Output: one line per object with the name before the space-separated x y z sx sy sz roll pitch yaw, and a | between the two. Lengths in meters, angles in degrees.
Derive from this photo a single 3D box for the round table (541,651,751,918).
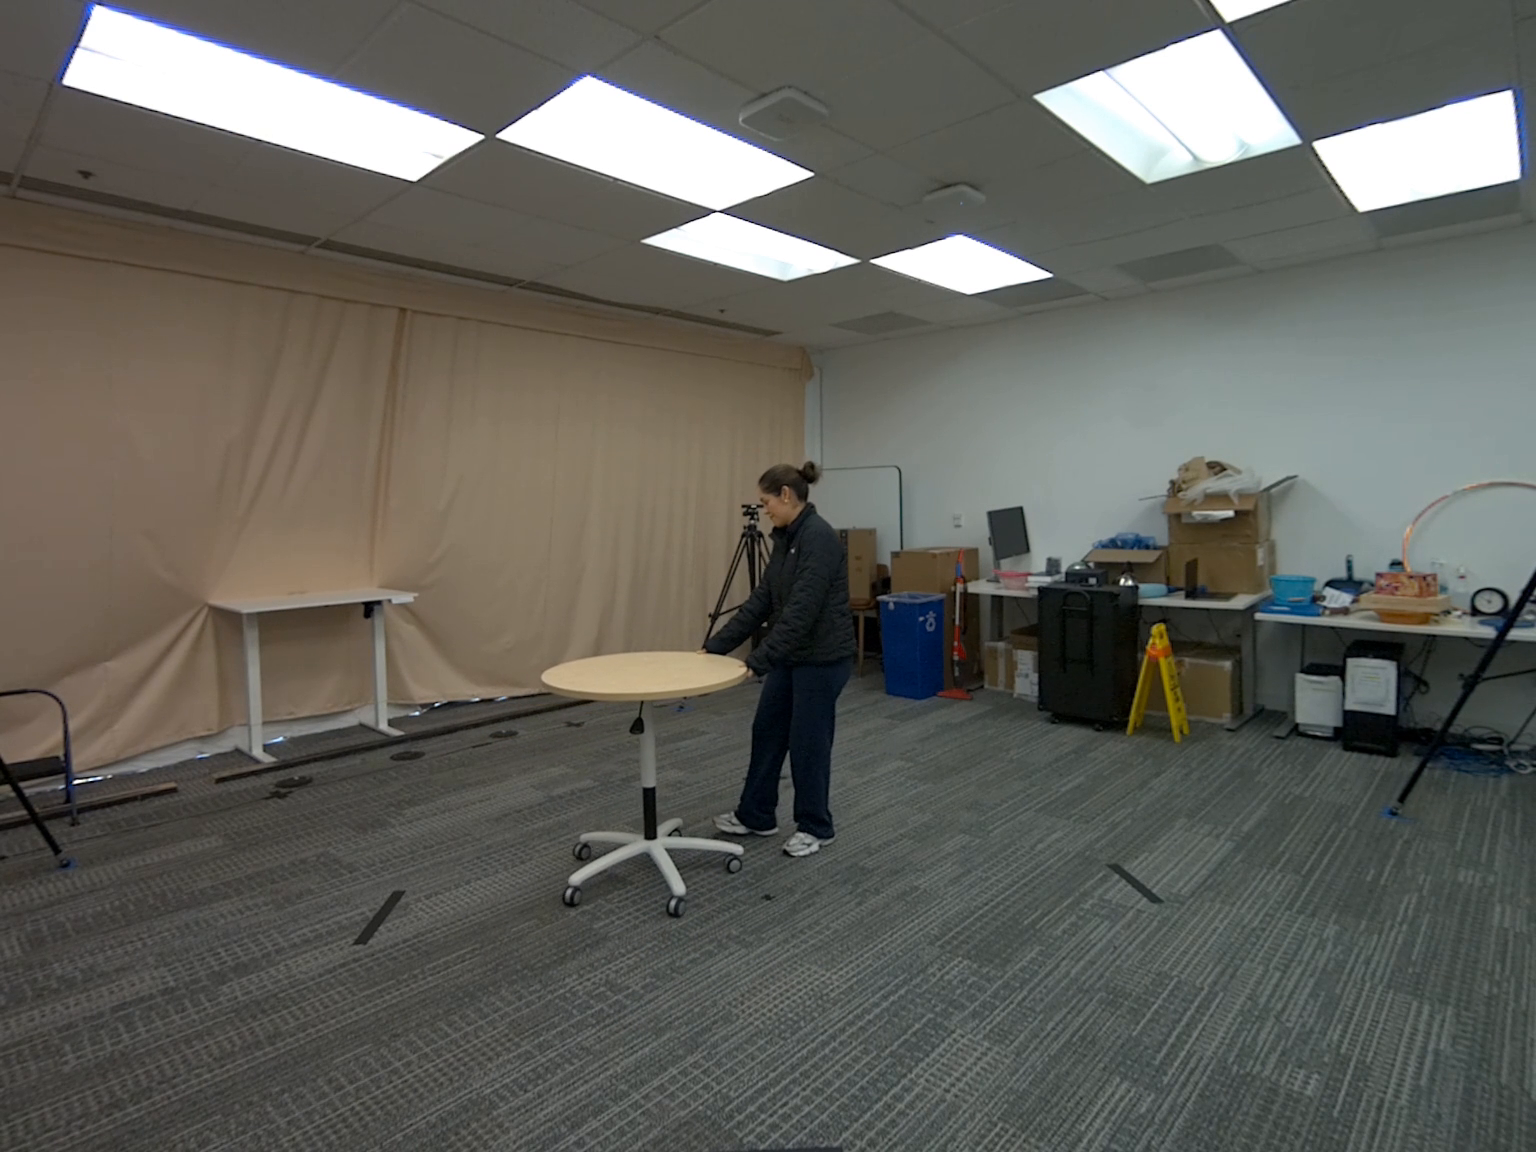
round table | -0.427 0.741 3.167 0.784 0.785 0.788 -1 4 -2
